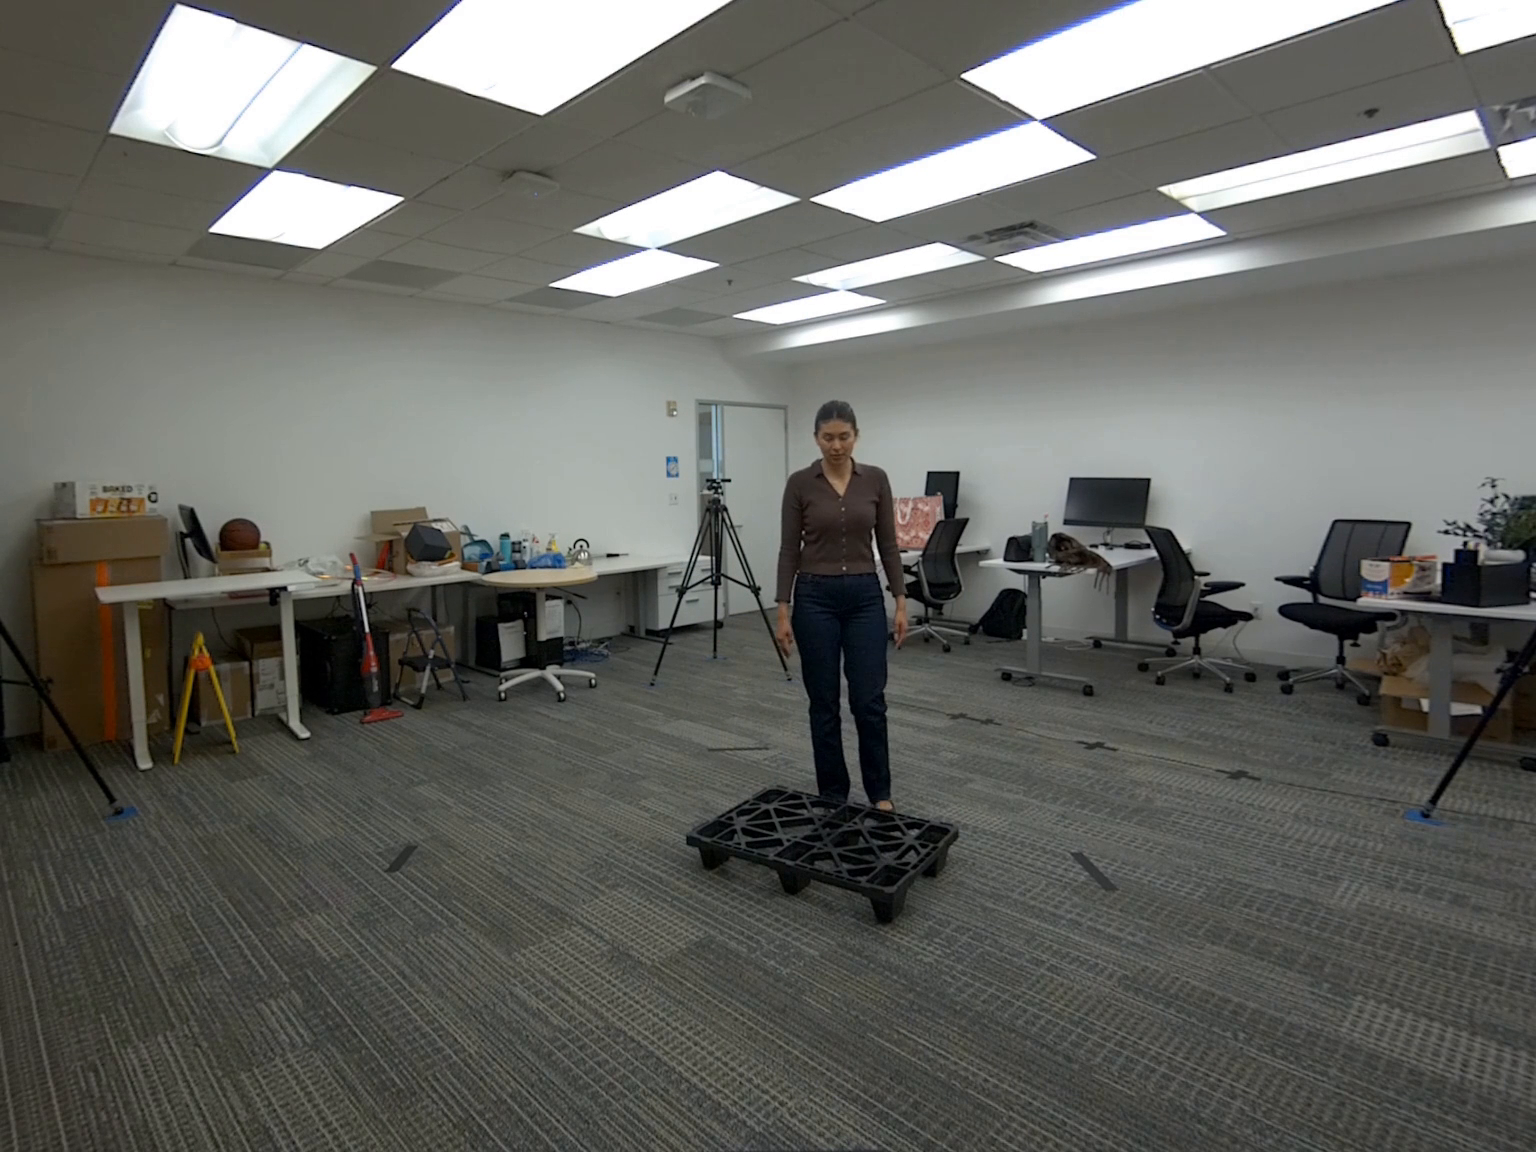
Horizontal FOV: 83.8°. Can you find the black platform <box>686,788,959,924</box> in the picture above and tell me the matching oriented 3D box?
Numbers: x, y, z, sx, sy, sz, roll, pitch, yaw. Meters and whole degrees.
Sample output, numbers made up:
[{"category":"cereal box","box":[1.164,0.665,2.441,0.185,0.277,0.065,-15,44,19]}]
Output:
[{"category":"black platform","box":[0.199,0.977,3.060,0.828,0.142,0.591,3,8,34]}]
